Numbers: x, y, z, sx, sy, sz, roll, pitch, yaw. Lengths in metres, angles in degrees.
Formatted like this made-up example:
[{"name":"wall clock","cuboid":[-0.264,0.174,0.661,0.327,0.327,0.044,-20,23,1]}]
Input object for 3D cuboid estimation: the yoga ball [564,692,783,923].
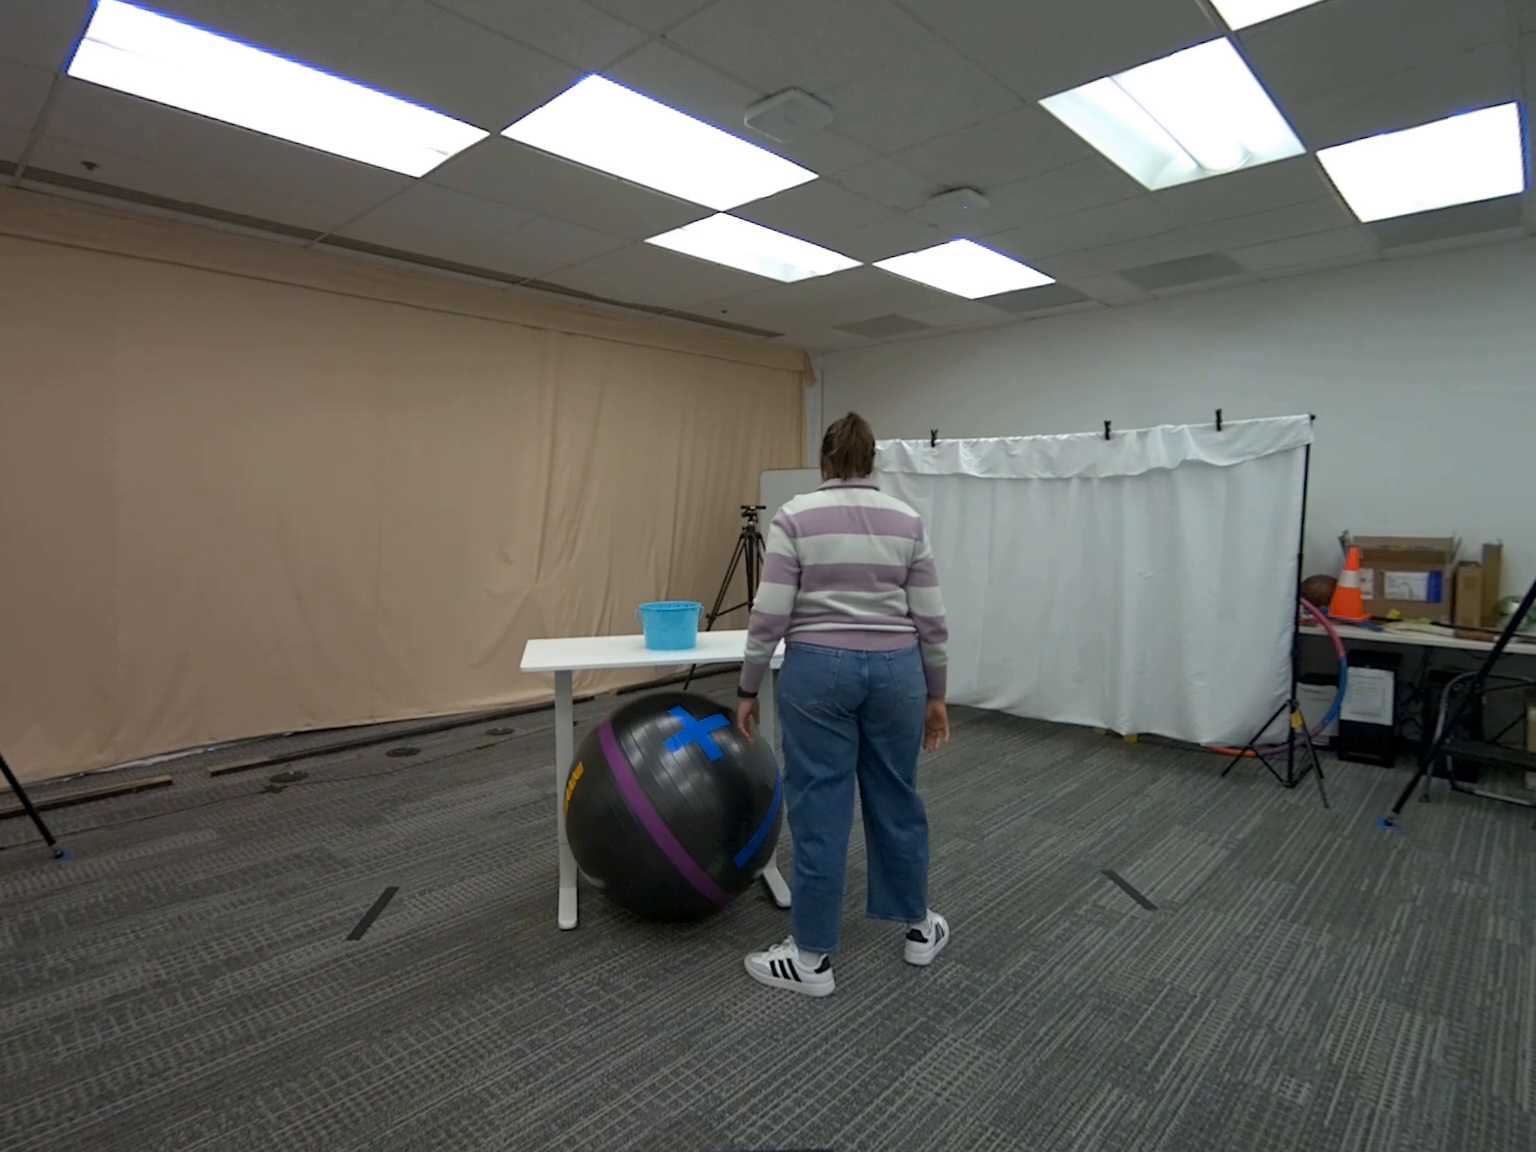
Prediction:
[{"name":"yoga ball","cuboid":[-0.336,0.789,2.917,0.757,0.756,0.760,0,4,-2]}]
